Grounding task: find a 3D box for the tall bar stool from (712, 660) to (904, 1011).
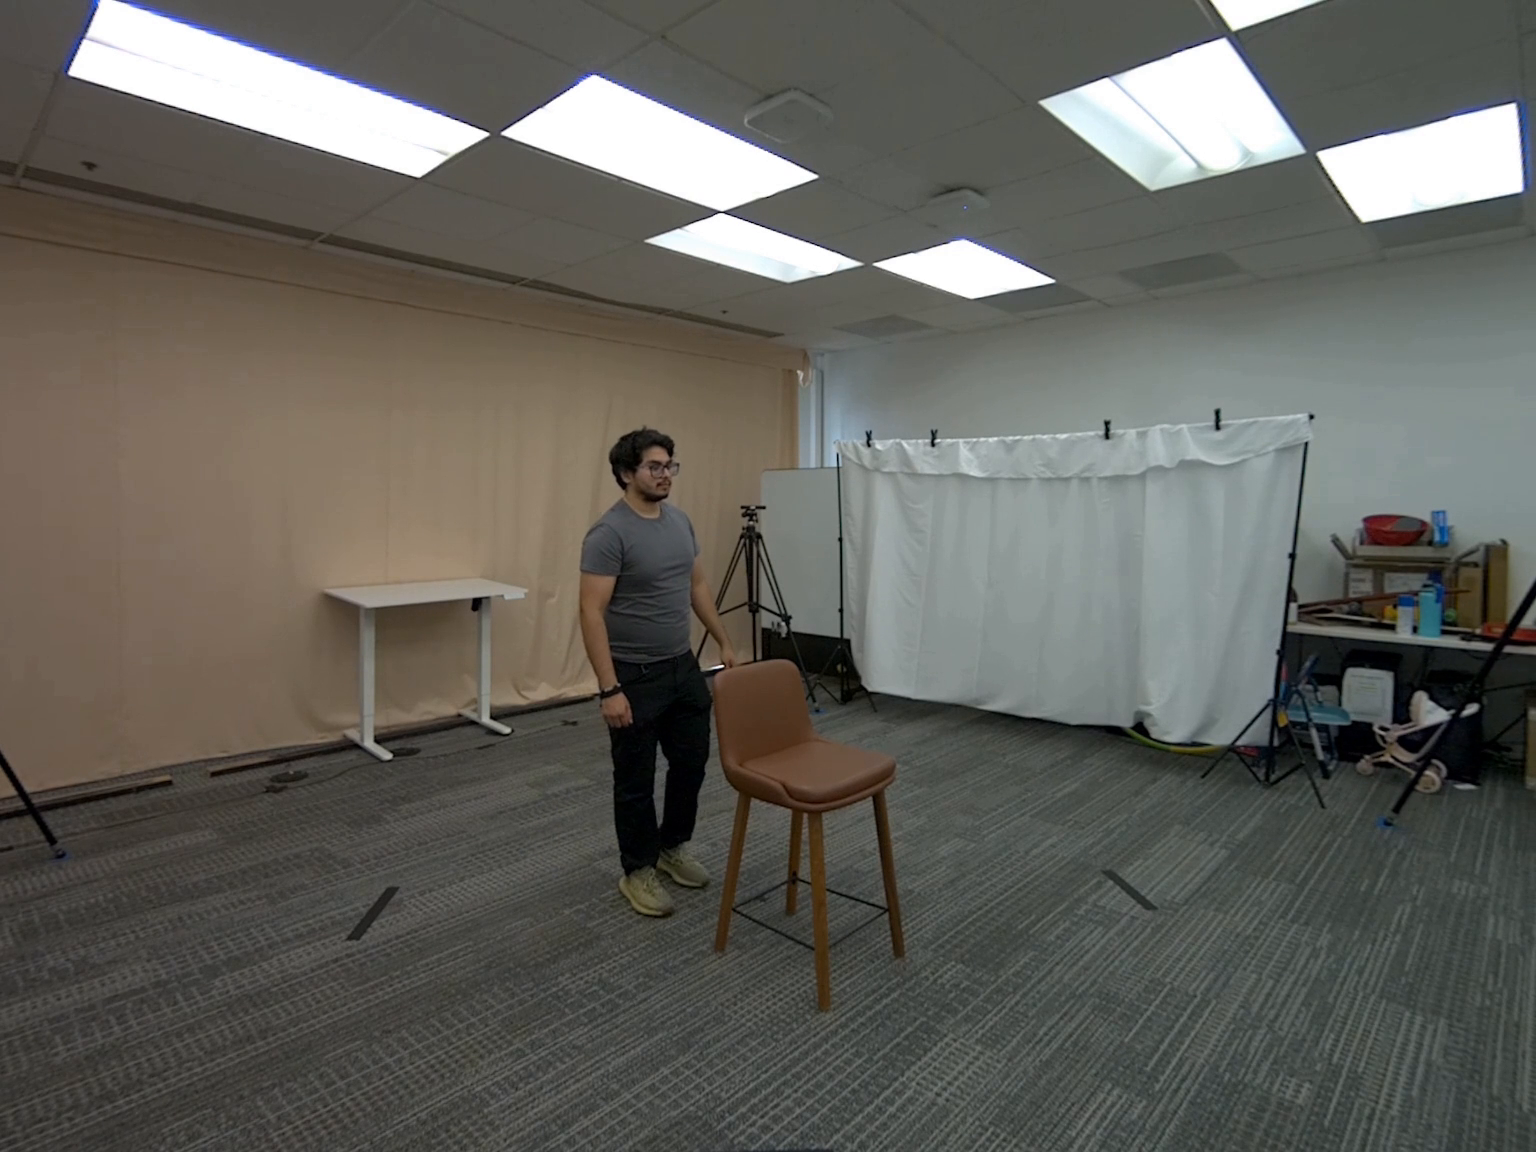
[{"bbox_3d":[0.121,0.743,2.595,0.483,0.888,0.442,1,3,43],"label":"tall bar stool"}]
